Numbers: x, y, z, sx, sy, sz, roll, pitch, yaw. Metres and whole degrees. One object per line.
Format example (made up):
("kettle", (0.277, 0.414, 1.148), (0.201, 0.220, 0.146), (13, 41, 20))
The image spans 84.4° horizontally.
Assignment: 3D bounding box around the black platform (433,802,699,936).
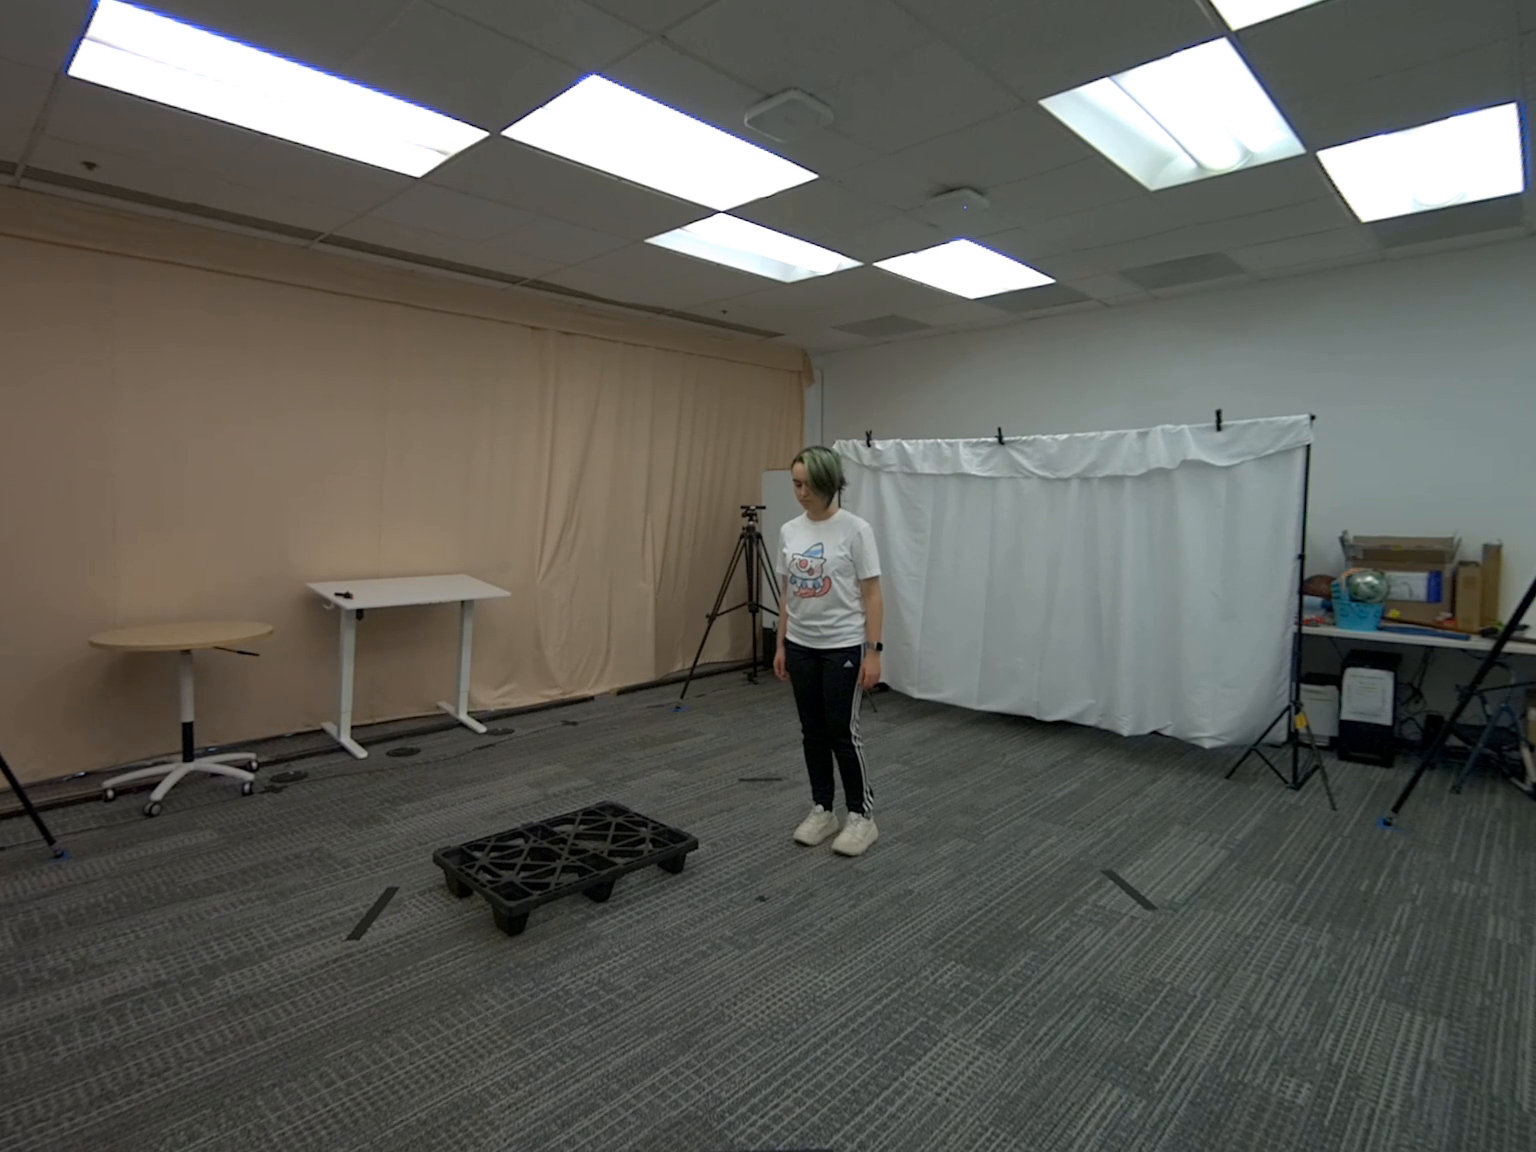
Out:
("black platform", (-0.742, 1.071, 3.138), (0.781, 0.143, 0.625), (-5, 7, -43))
